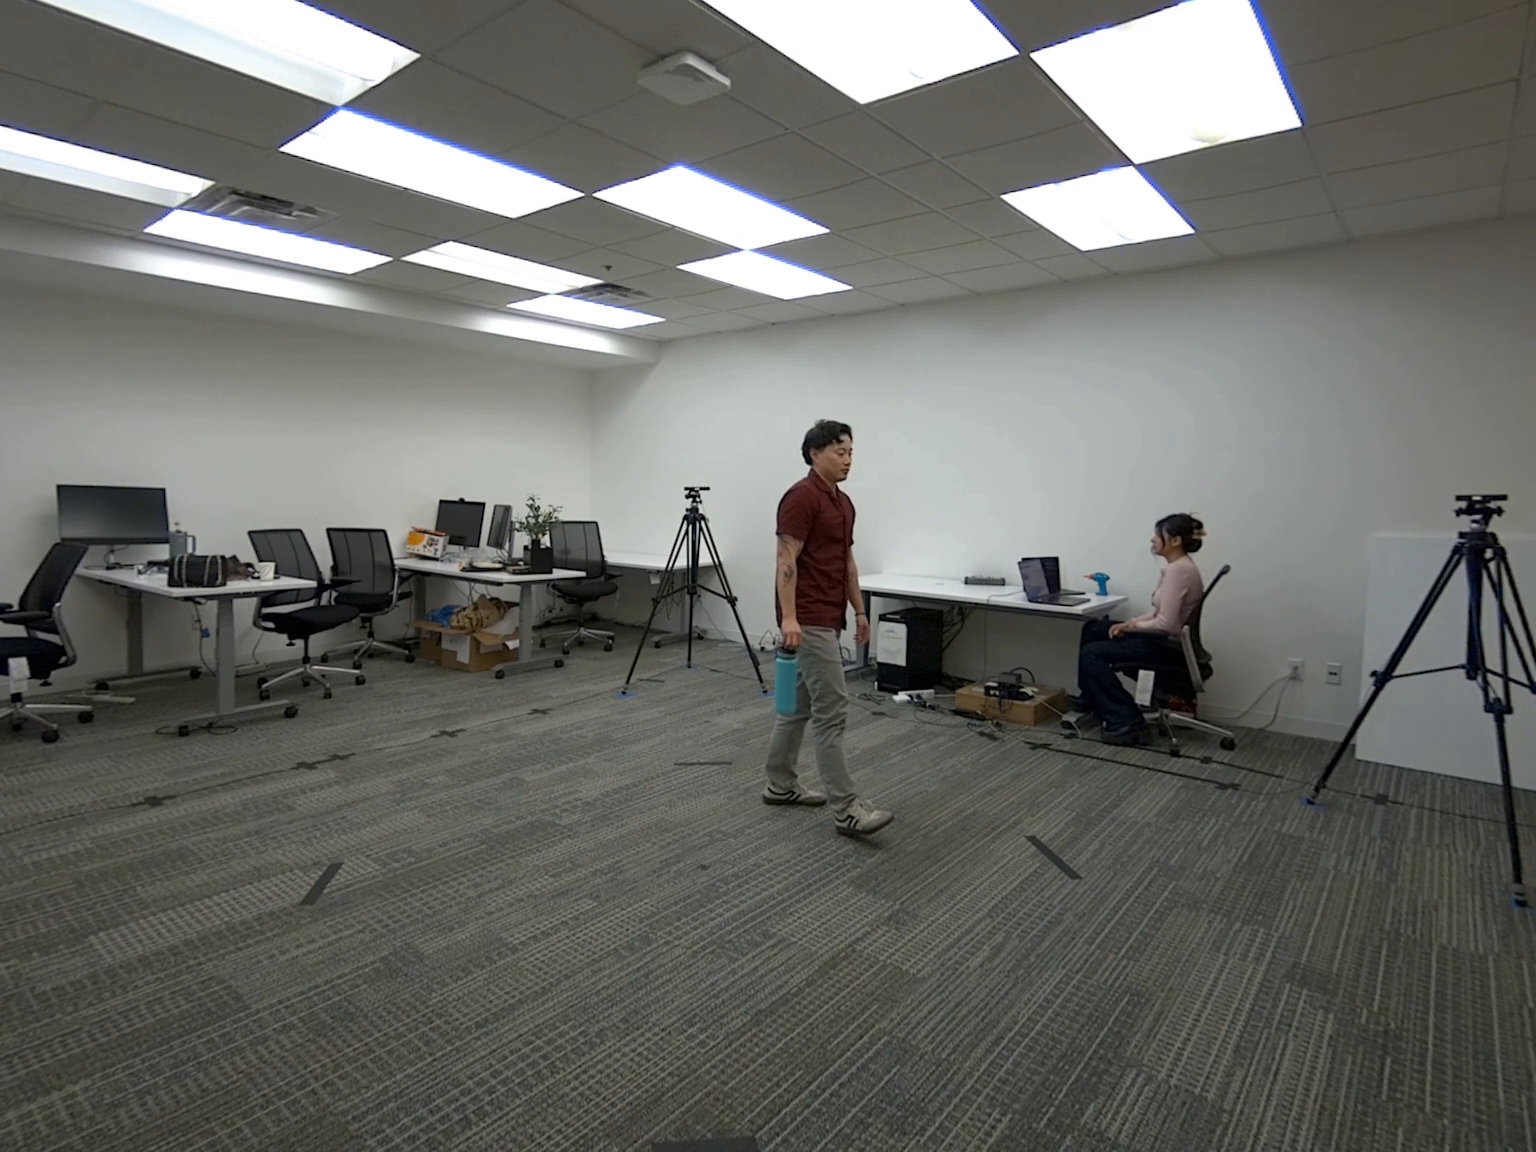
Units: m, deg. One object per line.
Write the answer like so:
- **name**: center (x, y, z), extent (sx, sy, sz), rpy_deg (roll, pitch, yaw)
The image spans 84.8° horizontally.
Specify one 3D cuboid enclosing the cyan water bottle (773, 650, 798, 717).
- **cyan water bottle**: center (0.069, 0.408, 3.421), extent (0.092, 0.281, 0.093), rpy_deg (2, 7, -2)
